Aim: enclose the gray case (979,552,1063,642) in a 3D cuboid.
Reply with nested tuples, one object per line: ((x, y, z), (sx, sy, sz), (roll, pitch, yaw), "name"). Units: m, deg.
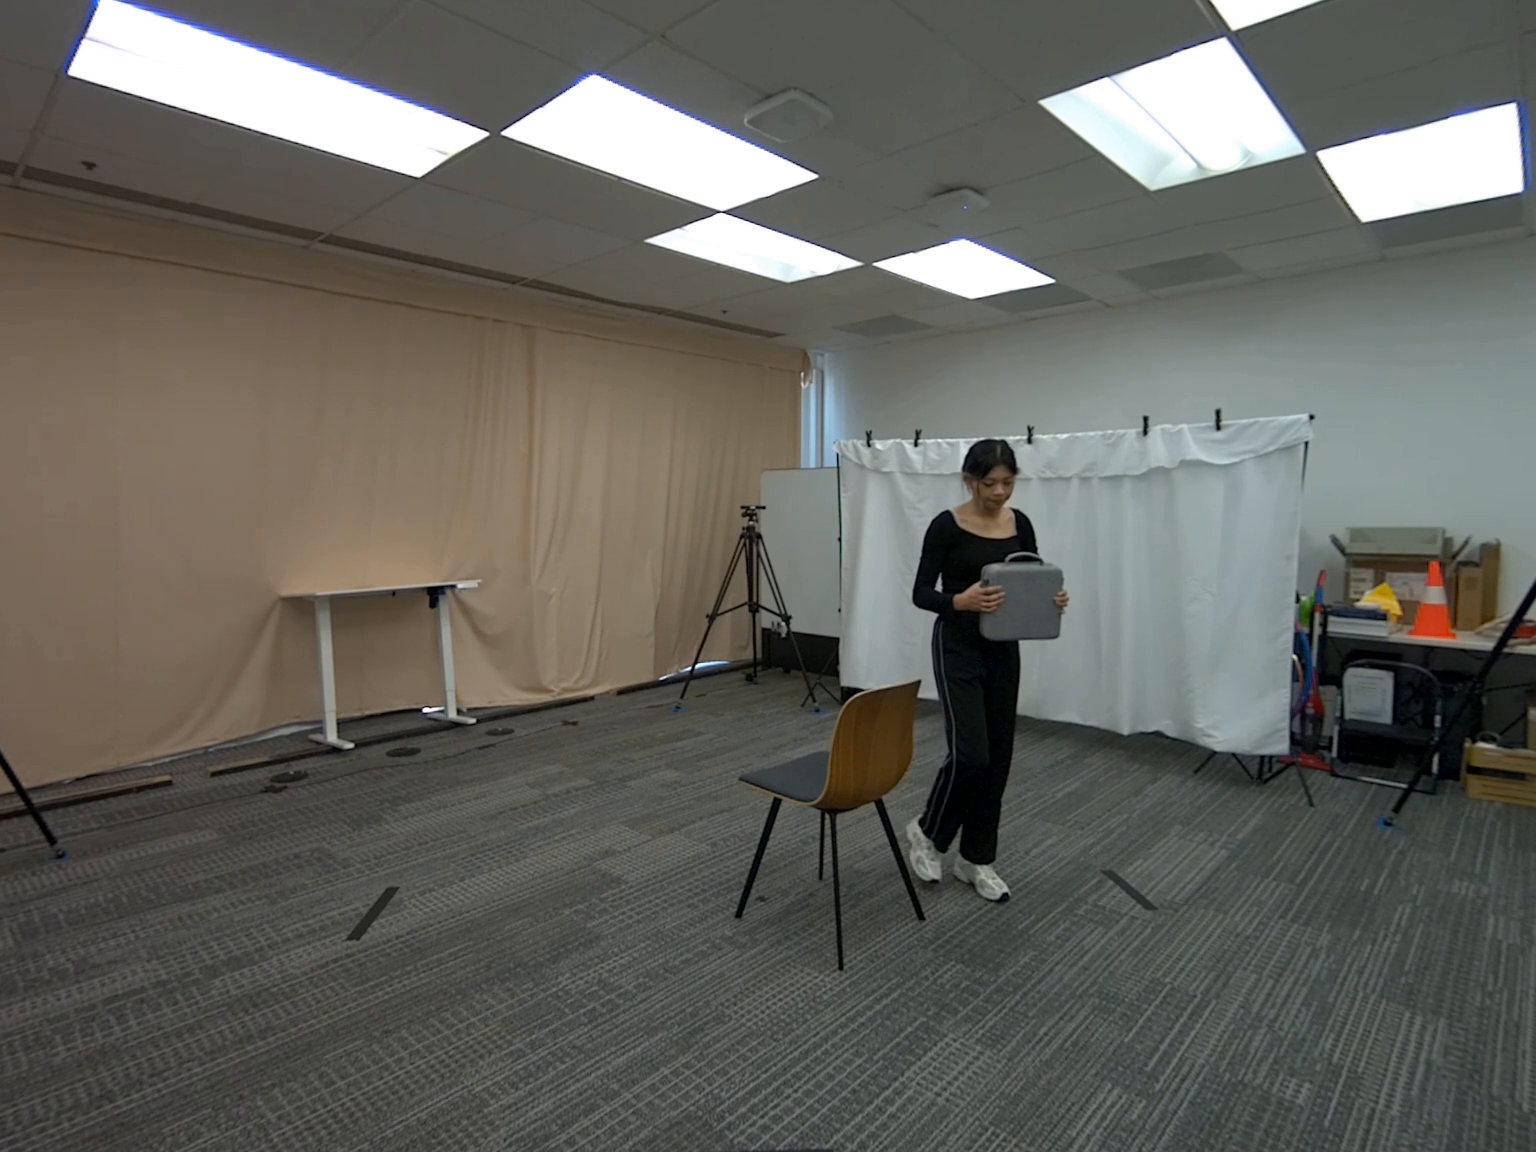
((0.840, 0.083, 2.799), (0.256, 0.259, 0.105), (-1, 9, -3), "gray case")
